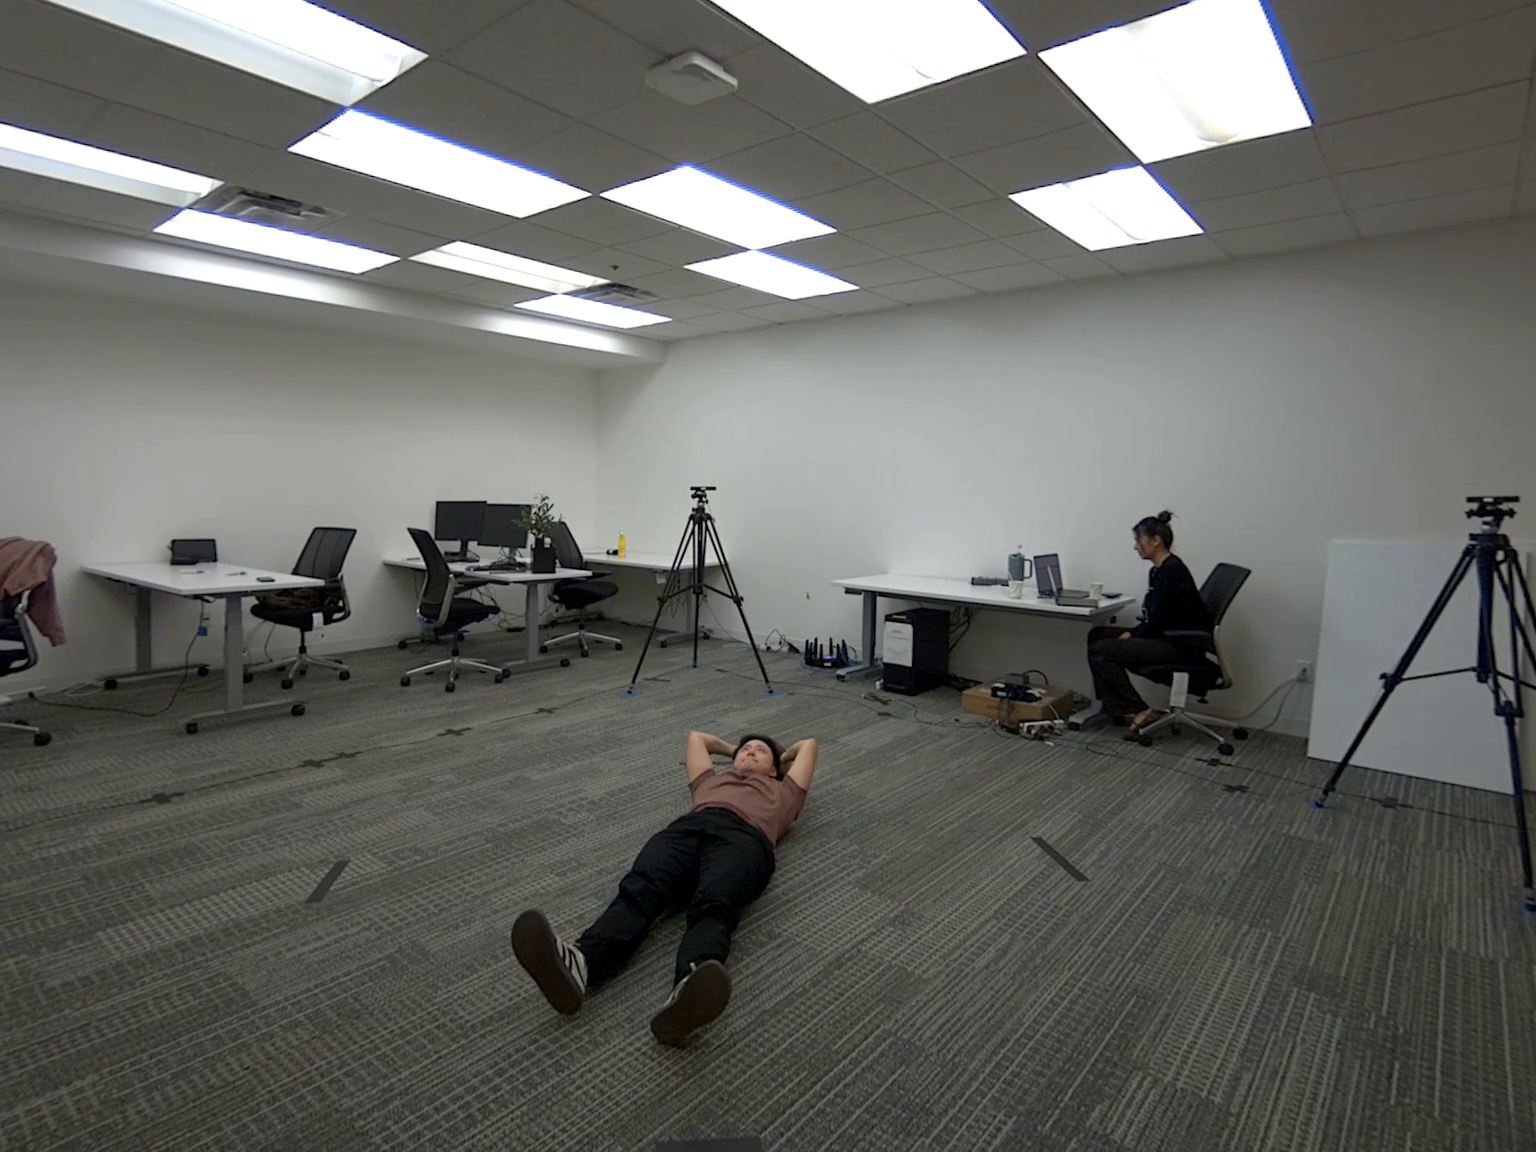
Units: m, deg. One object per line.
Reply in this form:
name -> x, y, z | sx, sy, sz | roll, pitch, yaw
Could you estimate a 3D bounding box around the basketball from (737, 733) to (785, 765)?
basketball -> -0.020, 0.856, 3.931 | 0.236, 0.235, 0.237 | -3, 3, -2
